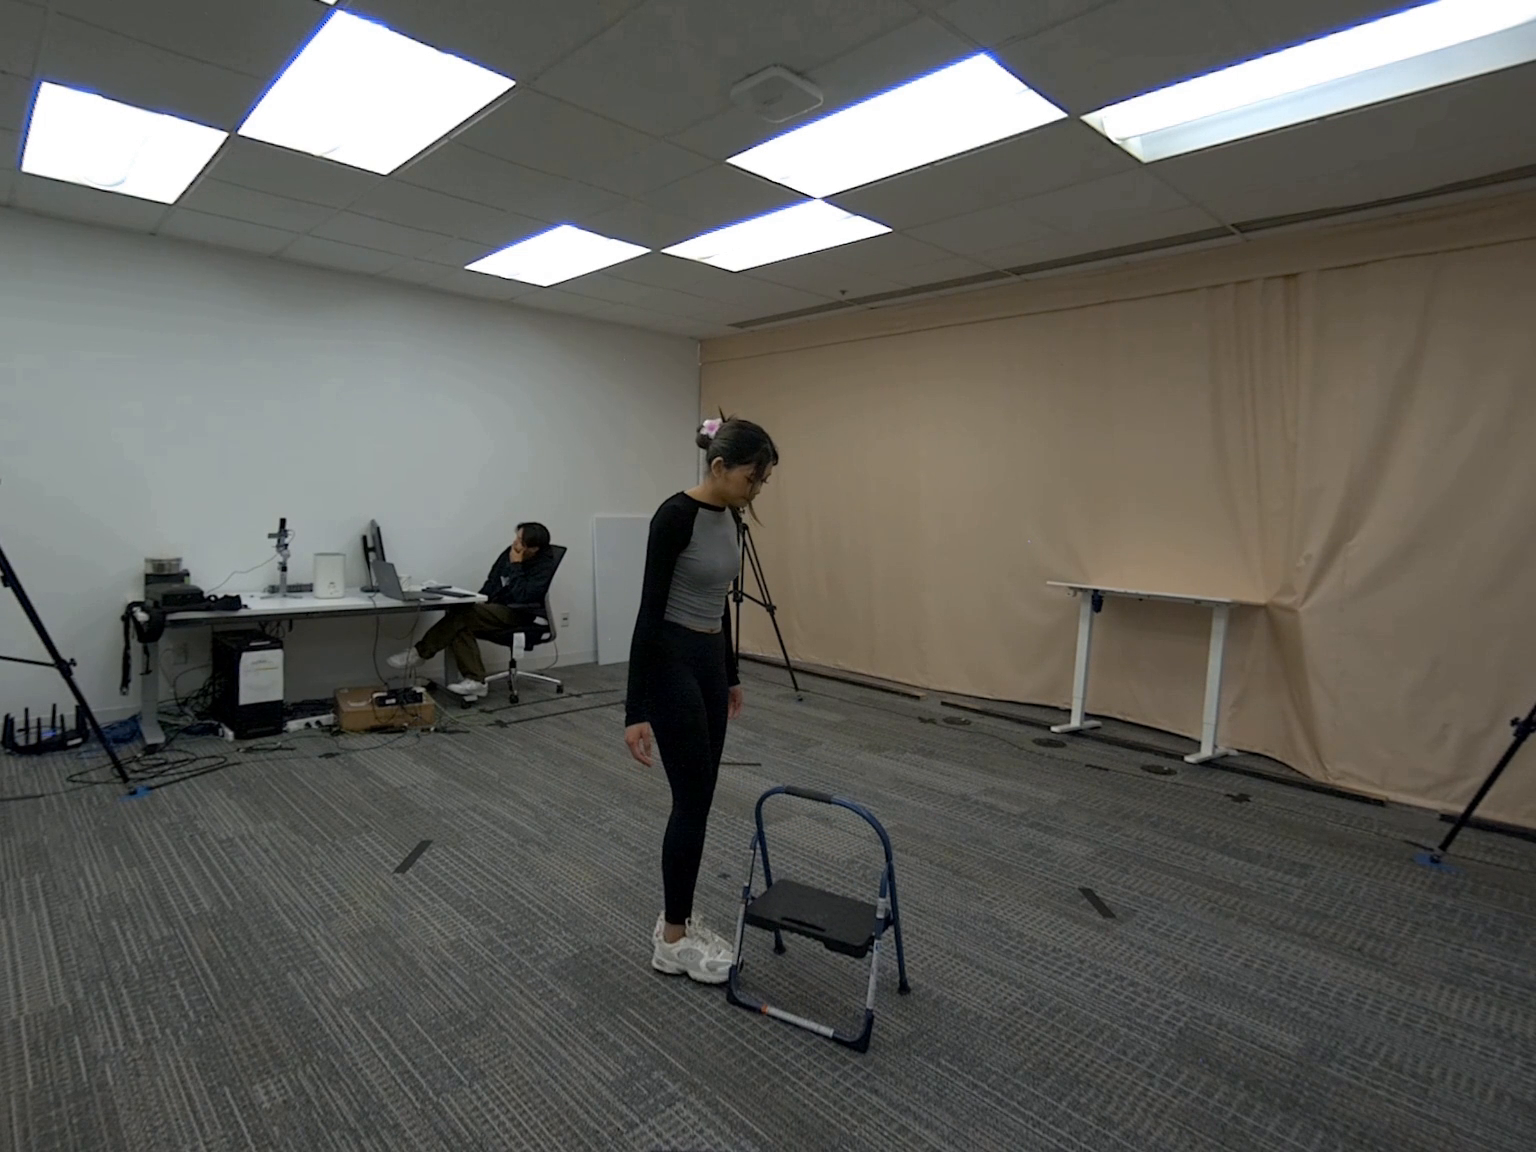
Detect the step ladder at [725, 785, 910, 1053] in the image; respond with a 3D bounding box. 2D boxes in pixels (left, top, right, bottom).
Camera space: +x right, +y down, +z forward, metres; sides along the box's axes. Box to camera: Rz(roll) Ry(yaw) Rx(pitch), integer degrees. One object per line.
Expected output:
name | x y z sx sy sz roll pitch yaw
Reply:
step ladder | 0.147 0.884 2.347 0.440 0.604 0.343 3 4 28
